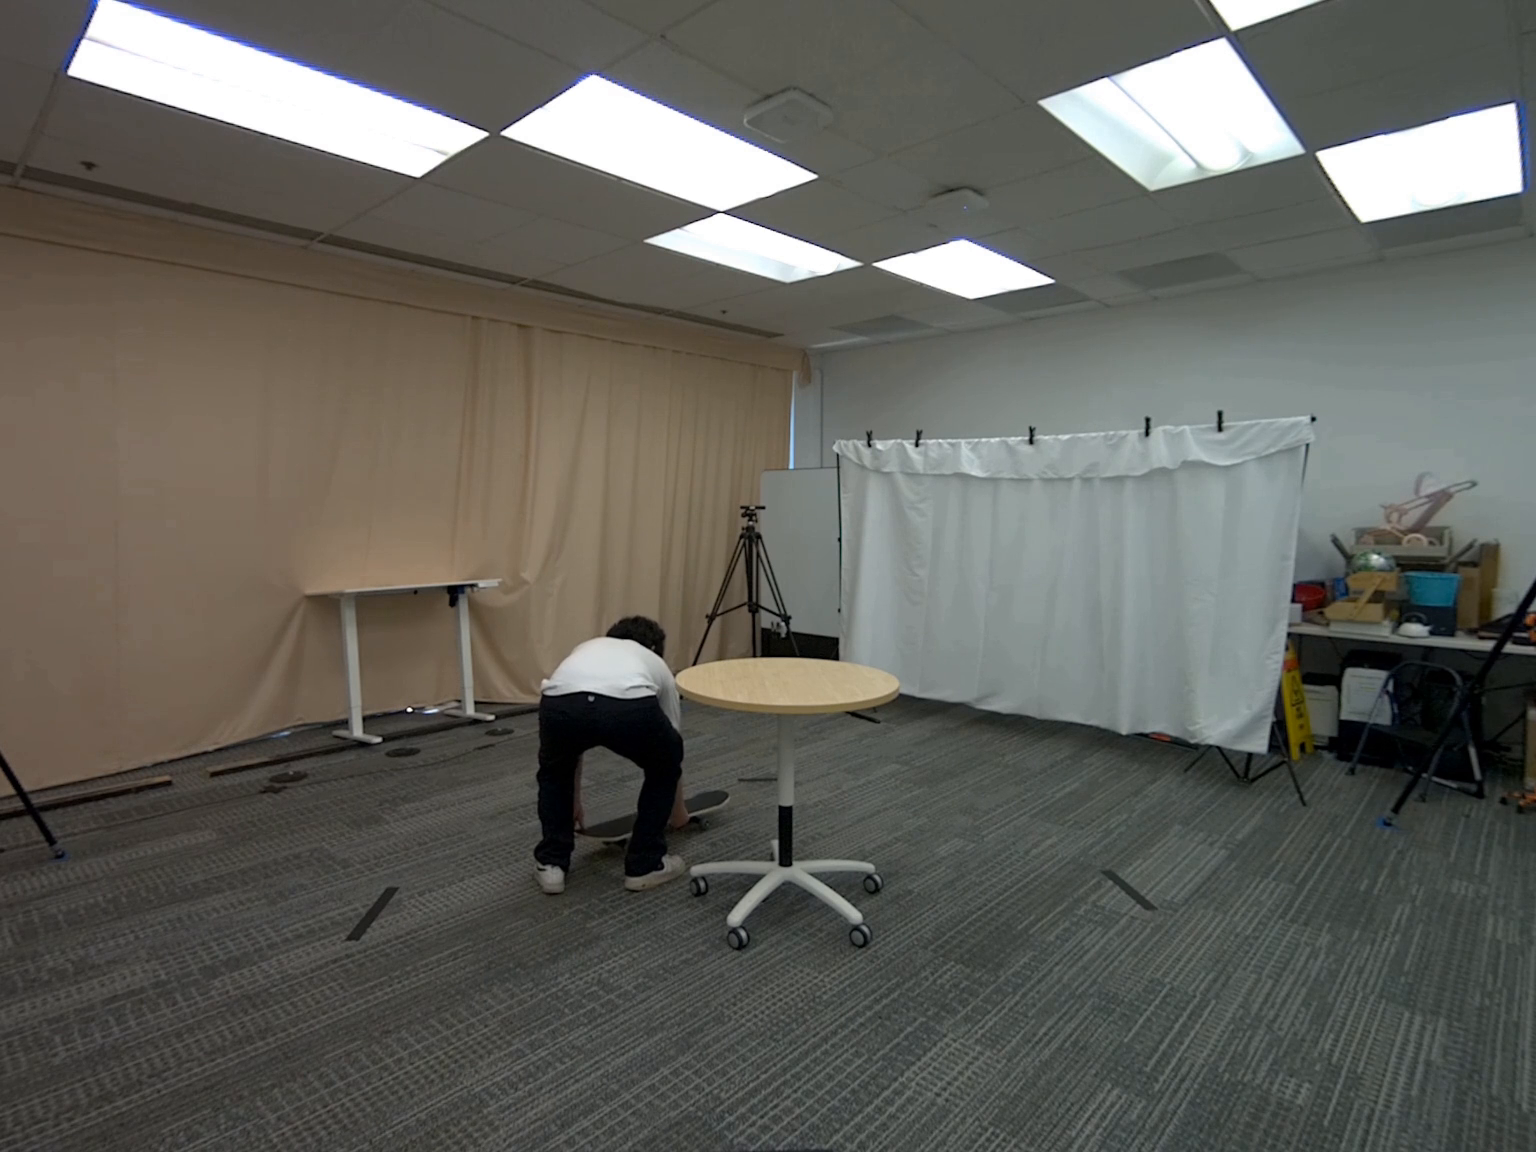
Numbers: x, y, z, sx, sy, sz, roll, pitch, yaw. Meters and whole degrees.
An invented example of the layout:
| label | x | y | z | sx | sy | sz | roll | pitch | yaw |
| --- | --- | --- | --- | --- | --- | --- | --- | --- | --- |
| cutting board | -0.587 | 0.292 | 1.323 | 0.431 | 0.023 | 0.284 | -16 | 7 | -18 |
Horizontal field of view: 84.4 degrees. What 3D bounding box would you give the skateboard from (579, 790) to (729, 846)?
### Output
| label | x | y | z | sx | sy | sz | roll | pitch | yaw |
| --- | --- | --- | --- | --- | --- | --- | --- | --- | --- |
| skateboard | -0.475 | 1.038 | 3.524 | 0.200 | 0.110 | 0.761 | 0 | 2 | 45 |
